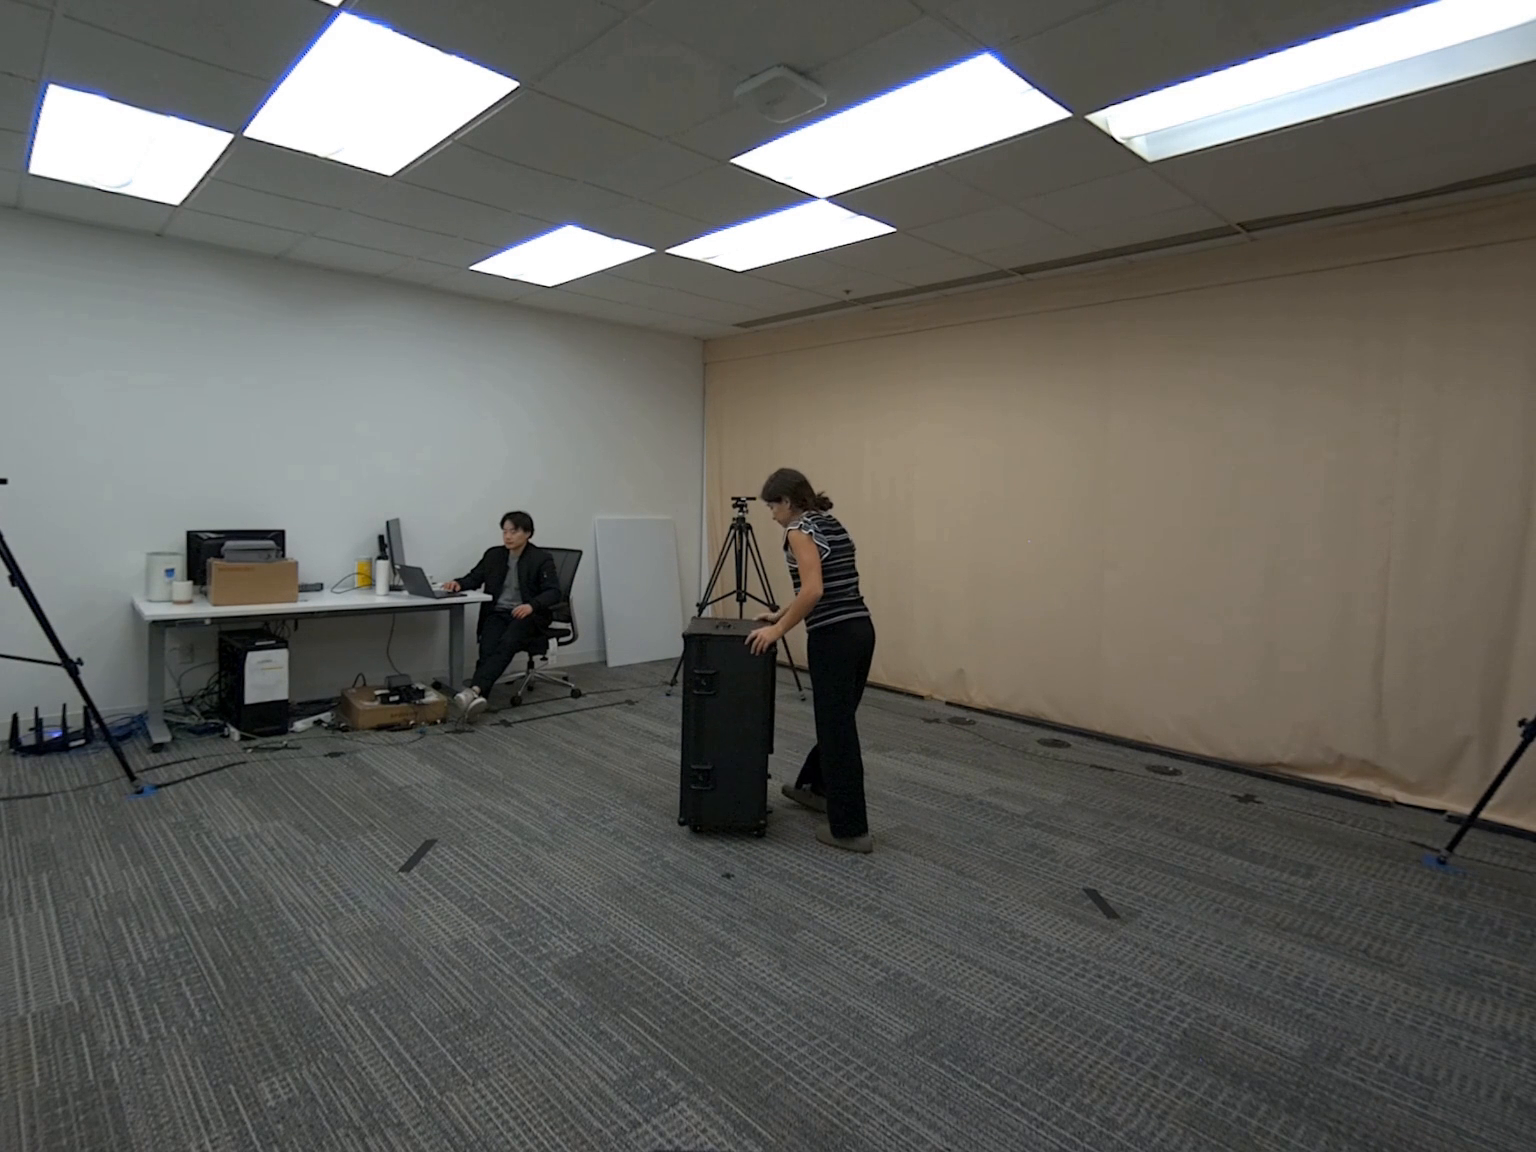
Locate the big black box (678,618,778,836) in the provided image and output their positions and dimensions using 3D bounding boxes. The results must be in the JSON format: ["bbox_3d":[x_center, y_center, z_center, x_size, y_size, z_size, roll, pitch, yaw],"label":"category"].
[{"bbox_3d":[-0.171,0.635,3.612,0.397,0.860,0.521,2,3,1],"label":"big black box"}]
